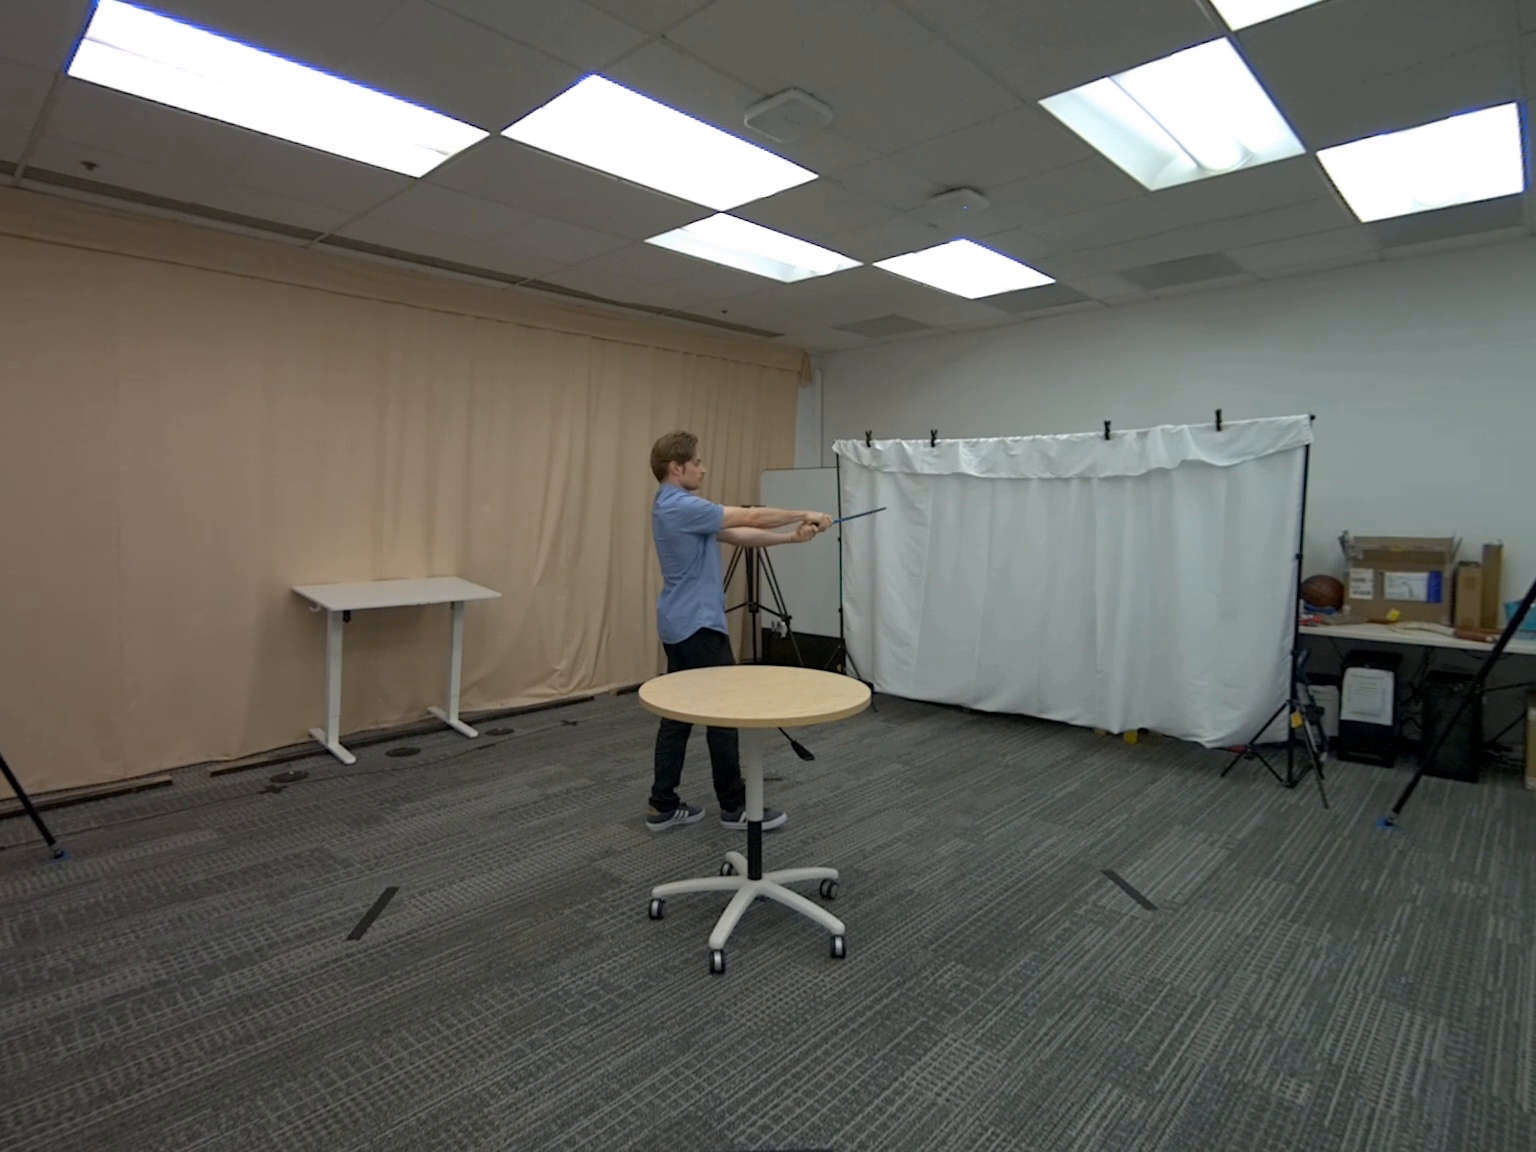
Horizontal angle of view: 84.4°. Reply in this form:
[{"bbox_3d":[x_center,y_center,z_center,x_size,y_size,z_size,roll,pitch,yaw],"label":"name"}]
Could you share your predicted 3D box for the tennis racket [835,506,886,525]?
[{"bbox_3d":[0.355,-0.254,3.758,0.424,0.032,0.218,-18,2,-28],"label":"tennis racket"}]
